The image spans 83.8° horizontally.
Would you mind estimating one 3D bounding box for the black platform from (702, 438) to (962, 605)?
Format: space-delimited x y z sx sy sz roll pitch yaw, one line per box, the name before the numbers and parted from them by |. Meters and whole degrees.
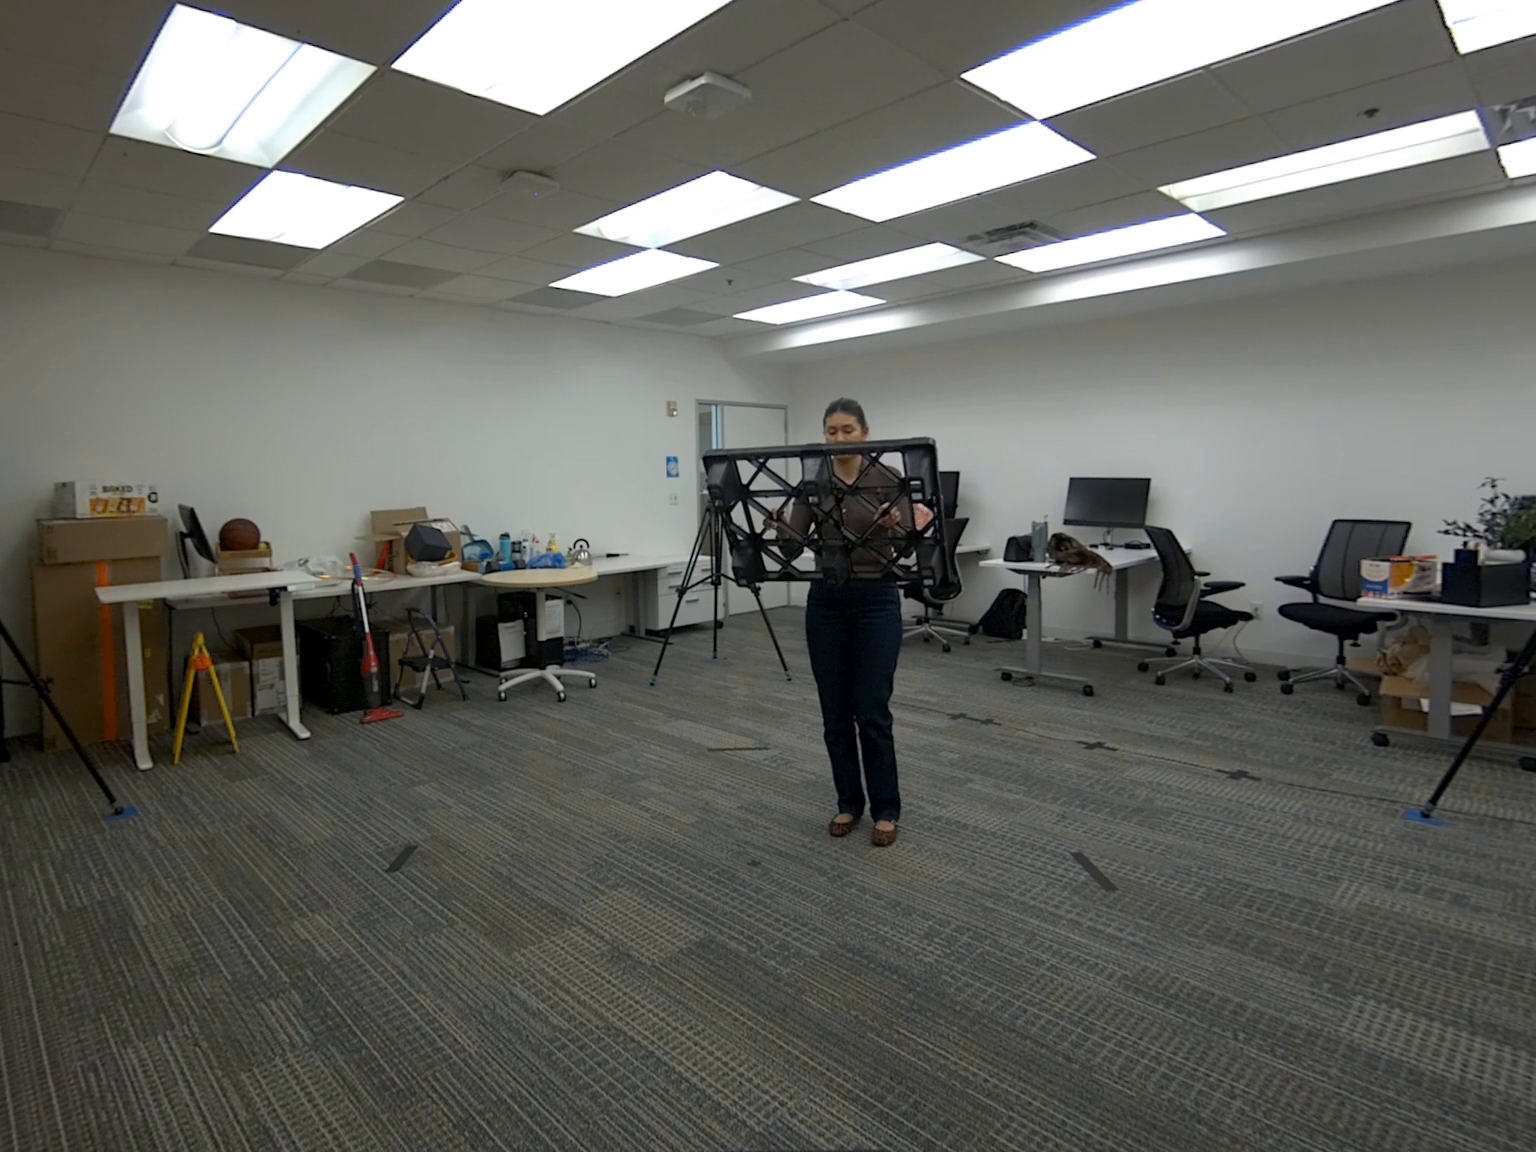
black platform | 0.202 -0.180 2.985 0.821 0.586 0.145 0 39 21
